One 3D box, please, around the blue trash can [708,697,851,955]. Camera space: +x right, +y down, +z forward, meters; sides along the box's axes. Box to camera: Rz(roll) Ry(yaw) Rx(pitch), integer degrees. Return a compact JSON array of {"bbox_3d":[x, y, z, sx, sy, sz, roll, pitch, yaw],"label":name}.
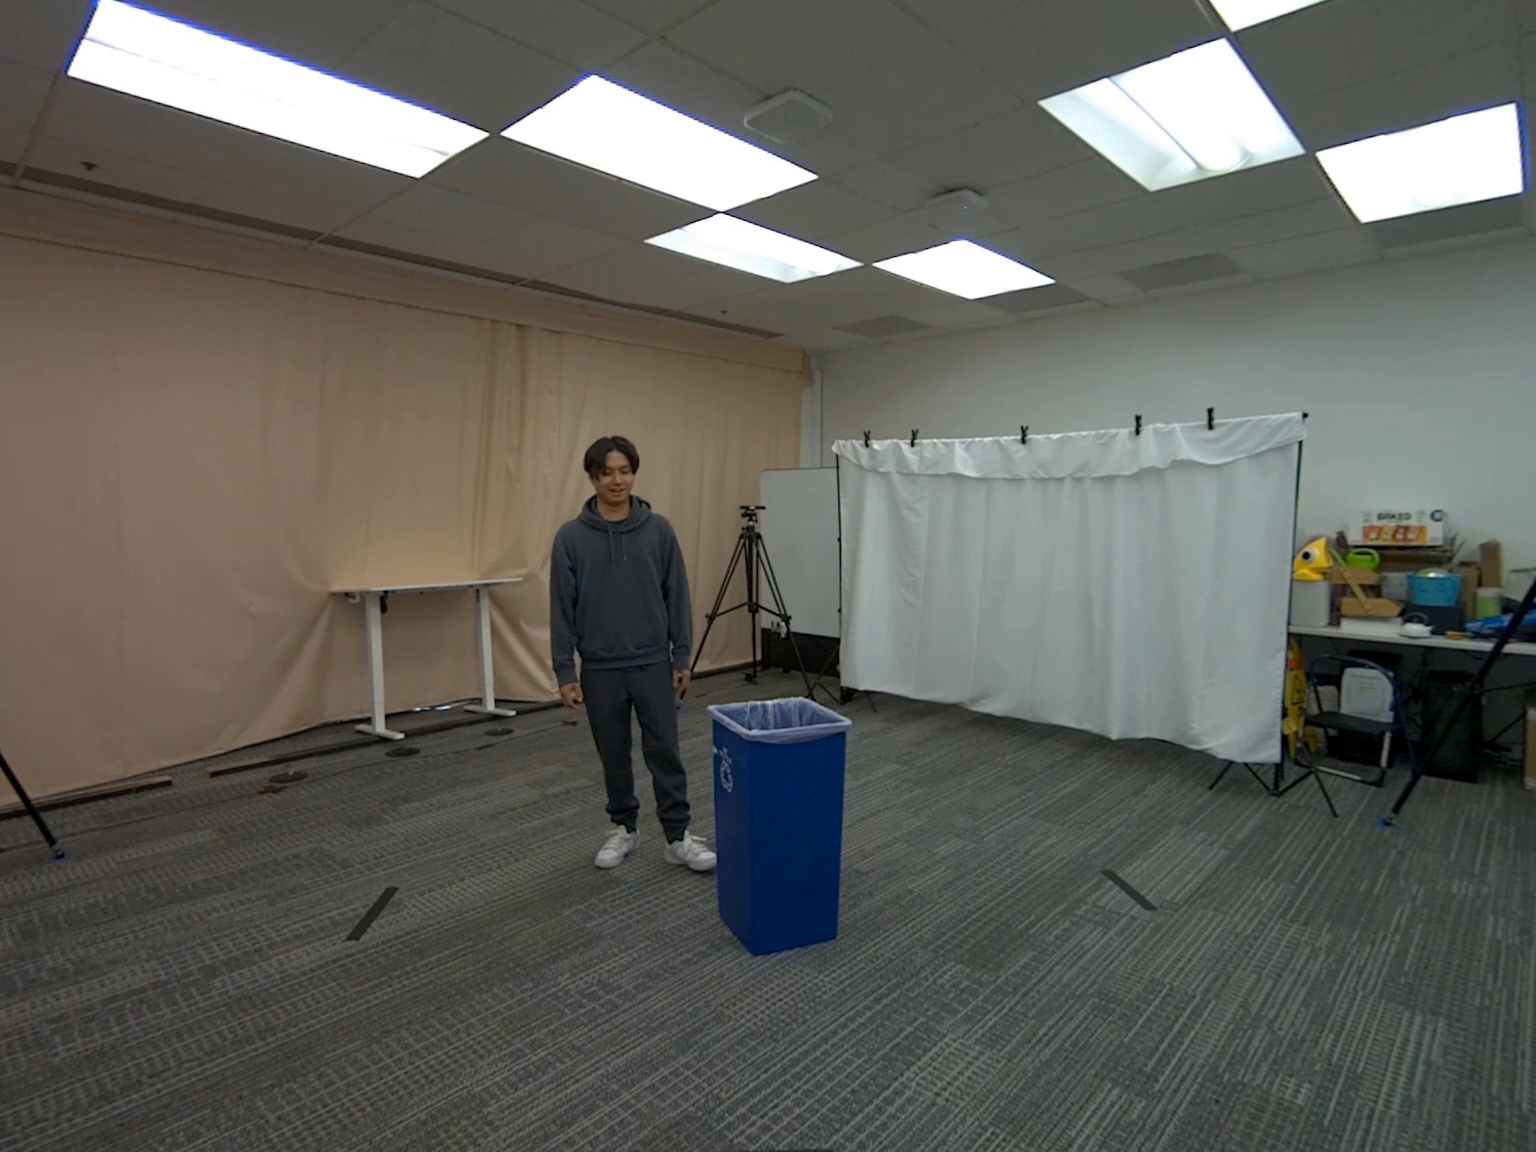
[{"bbox_3d":[0.039,0.804,2.766,0.370,0.712,0.383,-2,4,-24],"label":"blue trash can"}]
